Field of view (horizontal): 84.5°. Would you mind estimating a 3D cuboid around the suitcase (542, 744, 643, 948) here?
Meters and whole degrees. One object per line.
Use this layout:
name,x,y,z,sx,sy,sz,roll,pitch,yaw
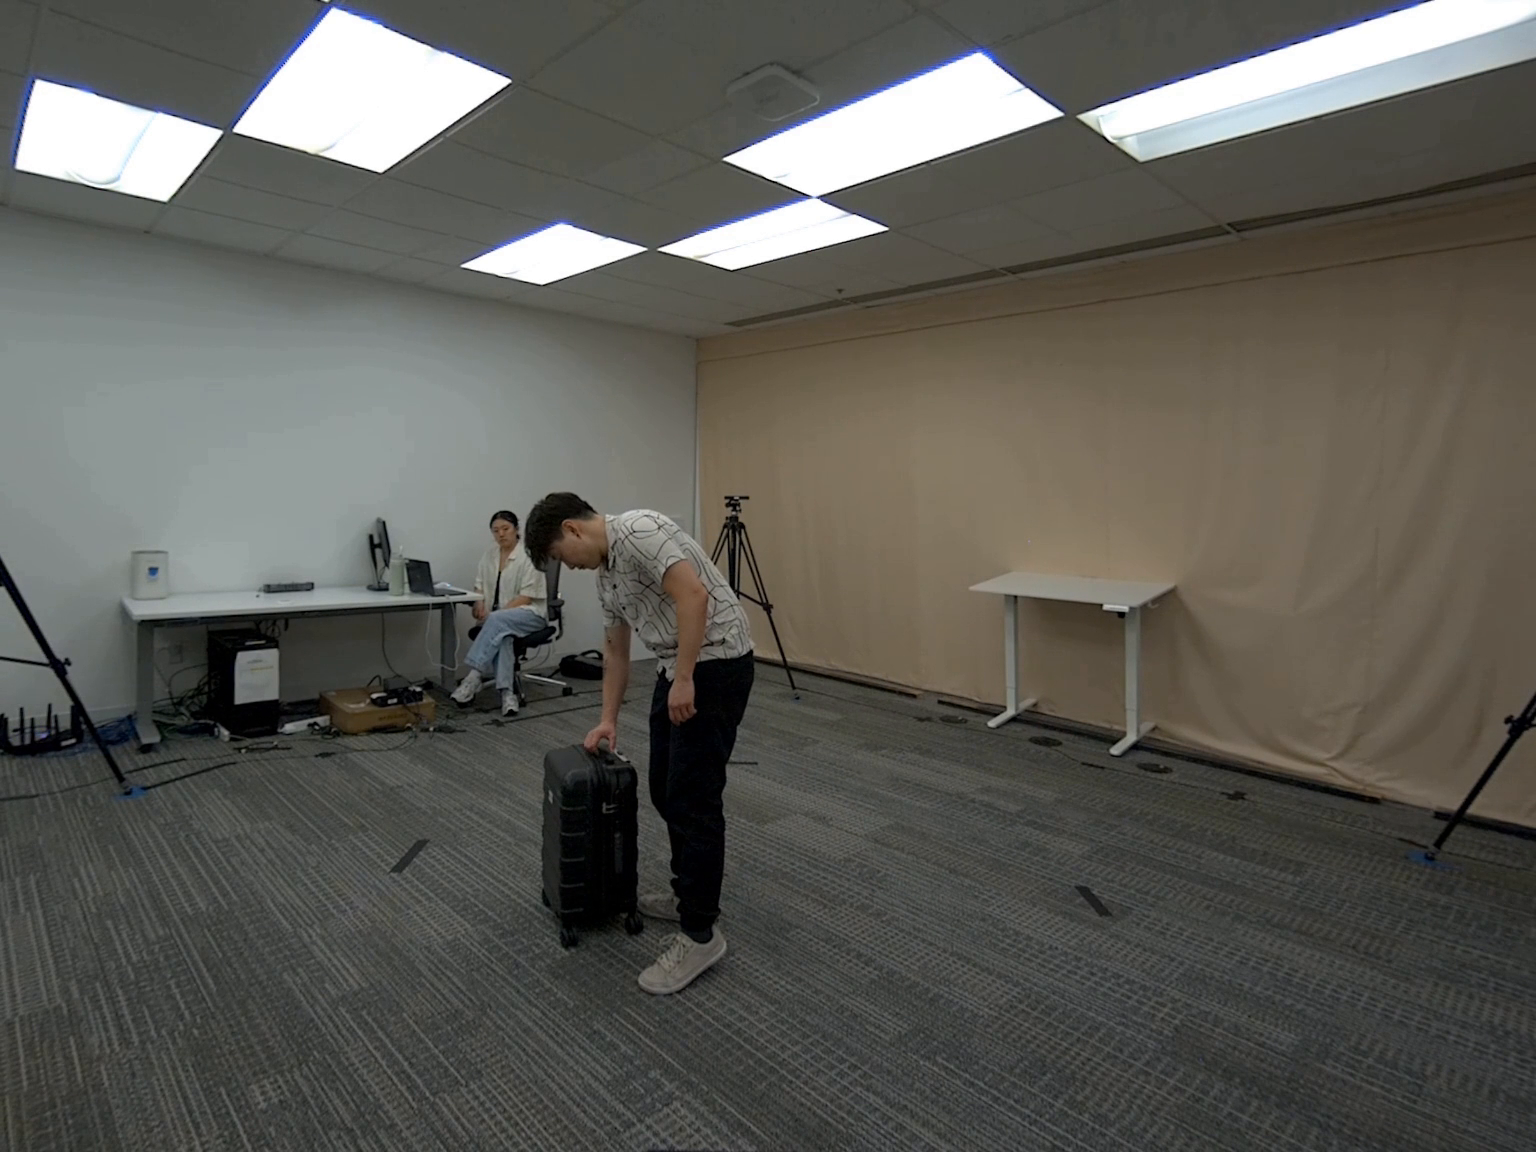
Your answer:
suitcase,-0.597,0.847,2.767,0.244,0.548,0.383,0,4,-25
